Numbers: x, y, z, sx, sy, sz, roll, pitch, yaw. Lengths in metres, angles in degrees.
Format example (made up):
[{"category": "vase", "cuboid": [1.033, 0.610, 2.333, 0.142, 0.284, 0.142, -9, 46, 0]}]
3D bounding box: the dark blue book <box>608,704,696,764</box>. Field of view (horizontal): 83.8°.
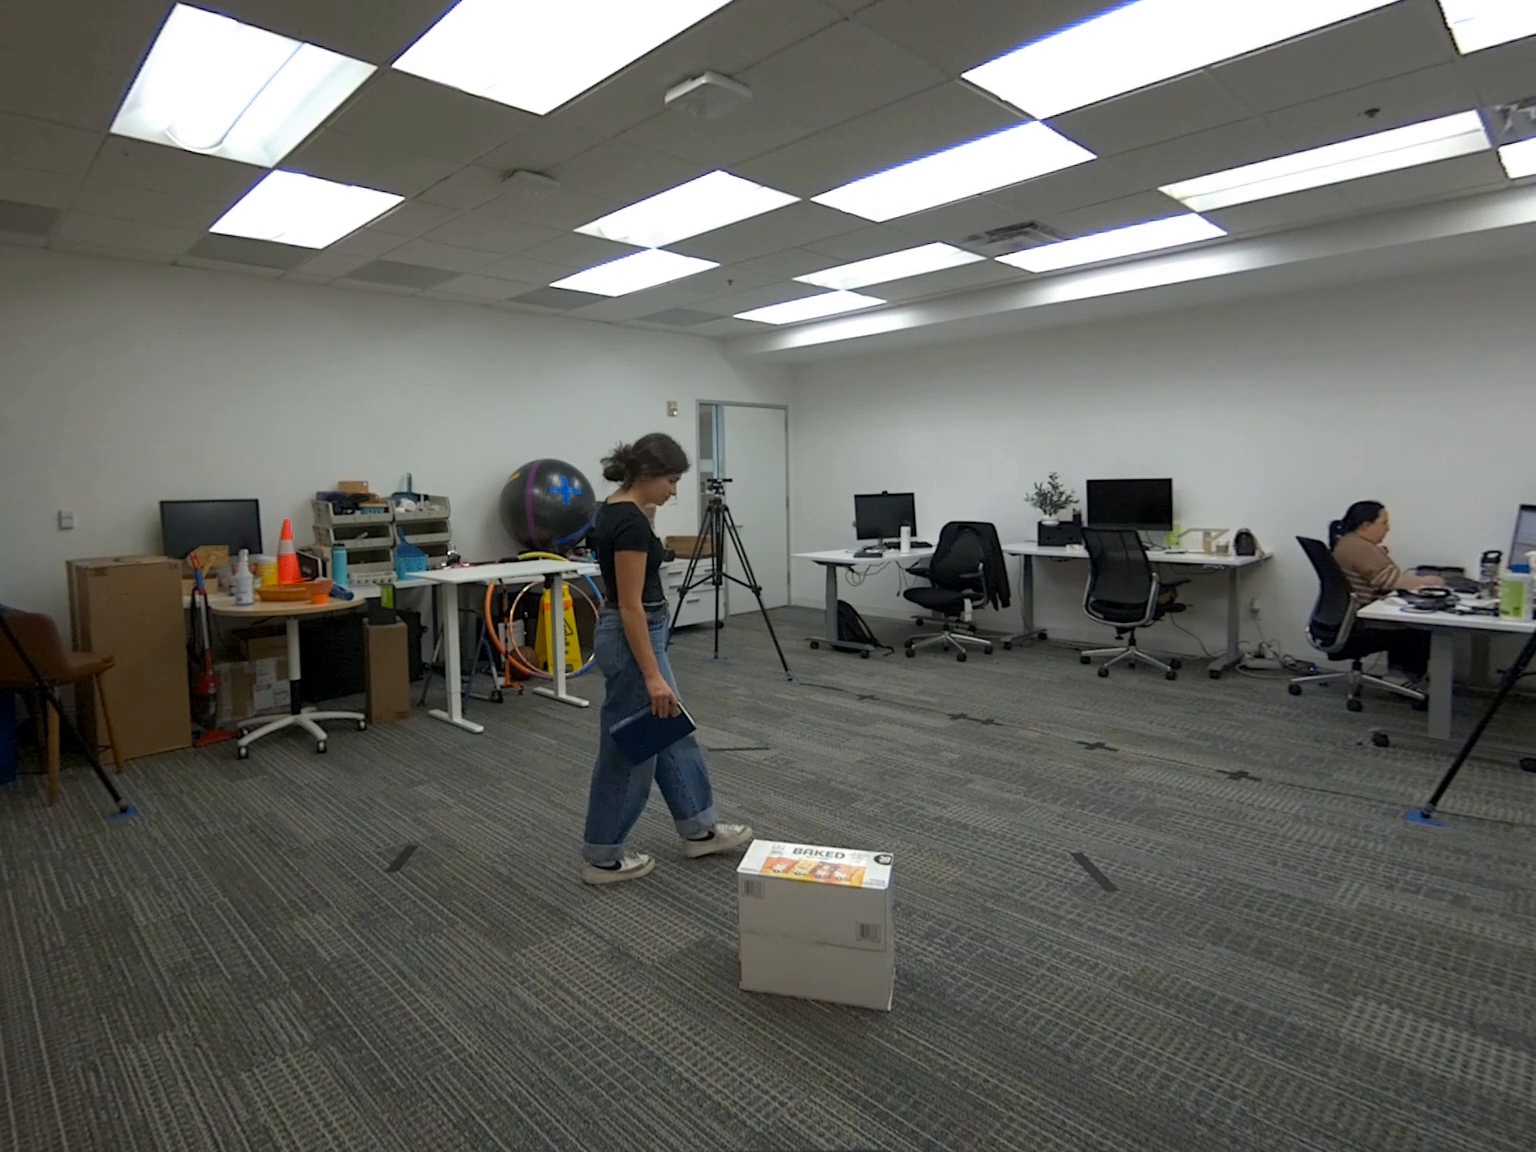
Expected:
[{"category": "dark blue book", "cuboid": [-0.381, 0.502, 2.838, 0.245, 0.159, 0.046, -32, 23, 1]}]
